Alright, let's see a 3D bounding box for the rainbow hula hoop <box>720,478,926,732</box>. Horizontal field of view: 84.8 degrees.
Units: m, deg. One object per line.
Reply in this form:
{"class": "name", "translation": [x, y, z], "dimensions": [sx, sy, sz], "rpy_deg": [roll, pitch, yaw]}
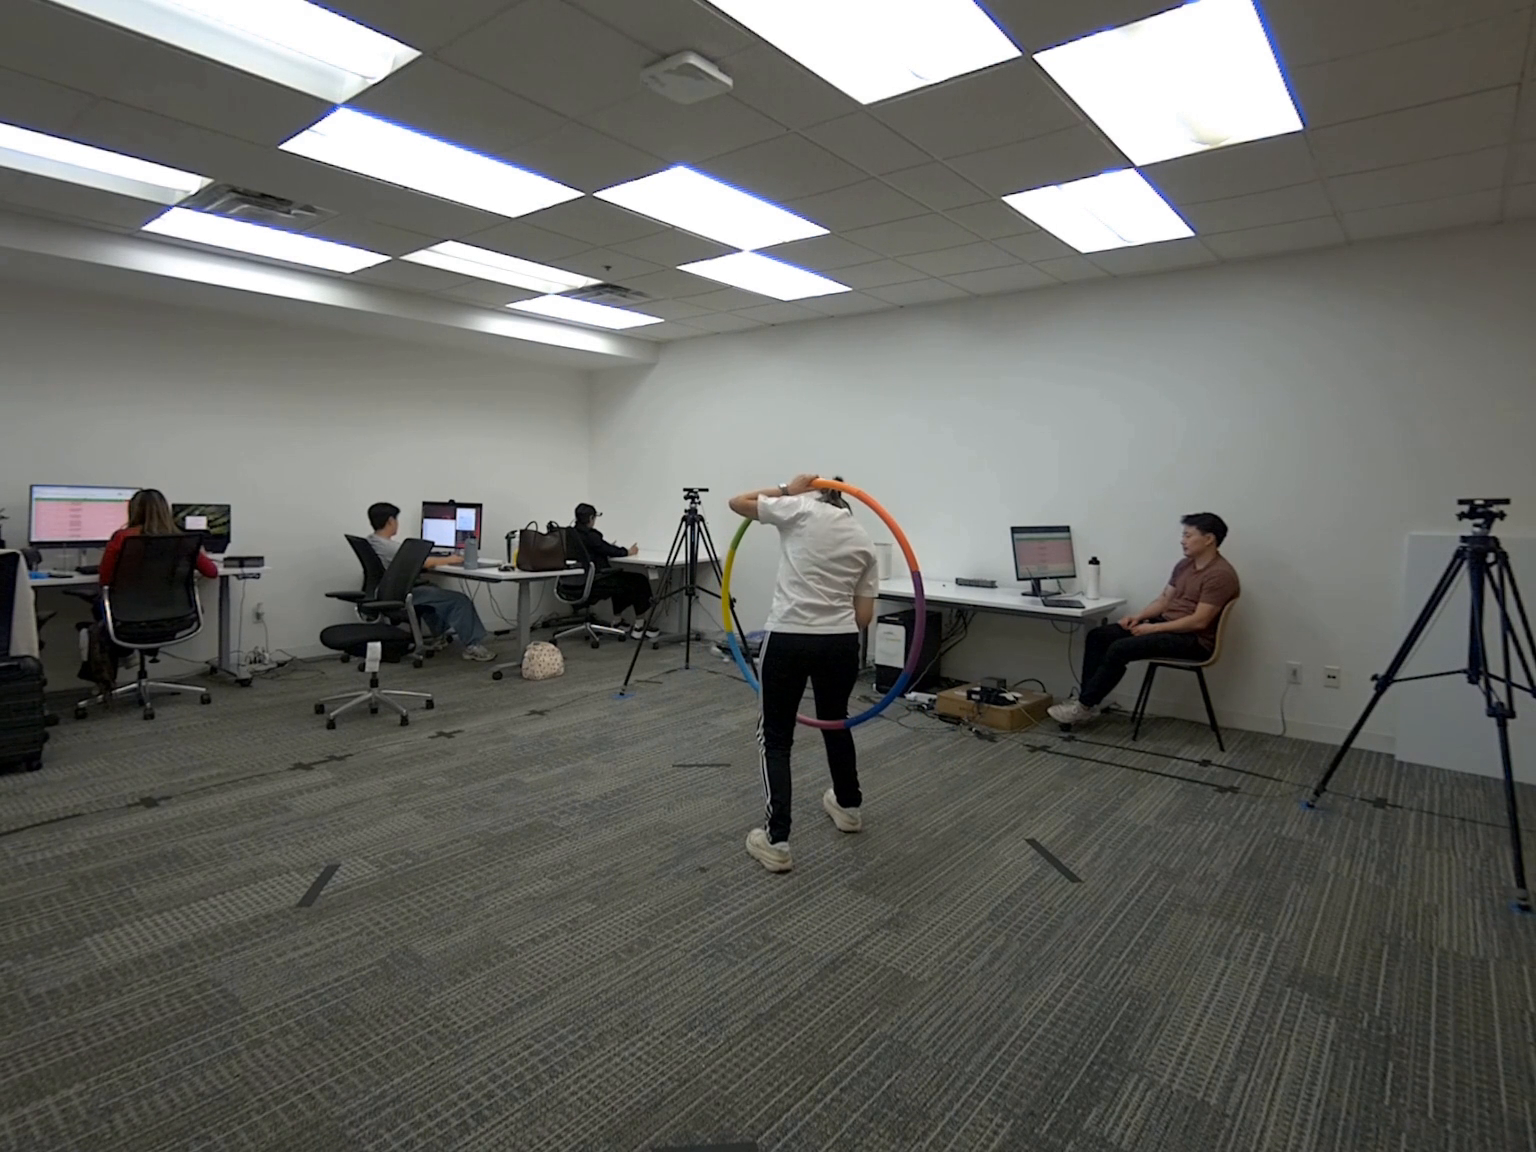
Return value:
{"class": "rainbow hula hoop", "translation": [0.169, 0.108, 3.380], "dimensions": [1.012, 0.975, 0.034], "rpy_deg": [4, 5, 42]}
